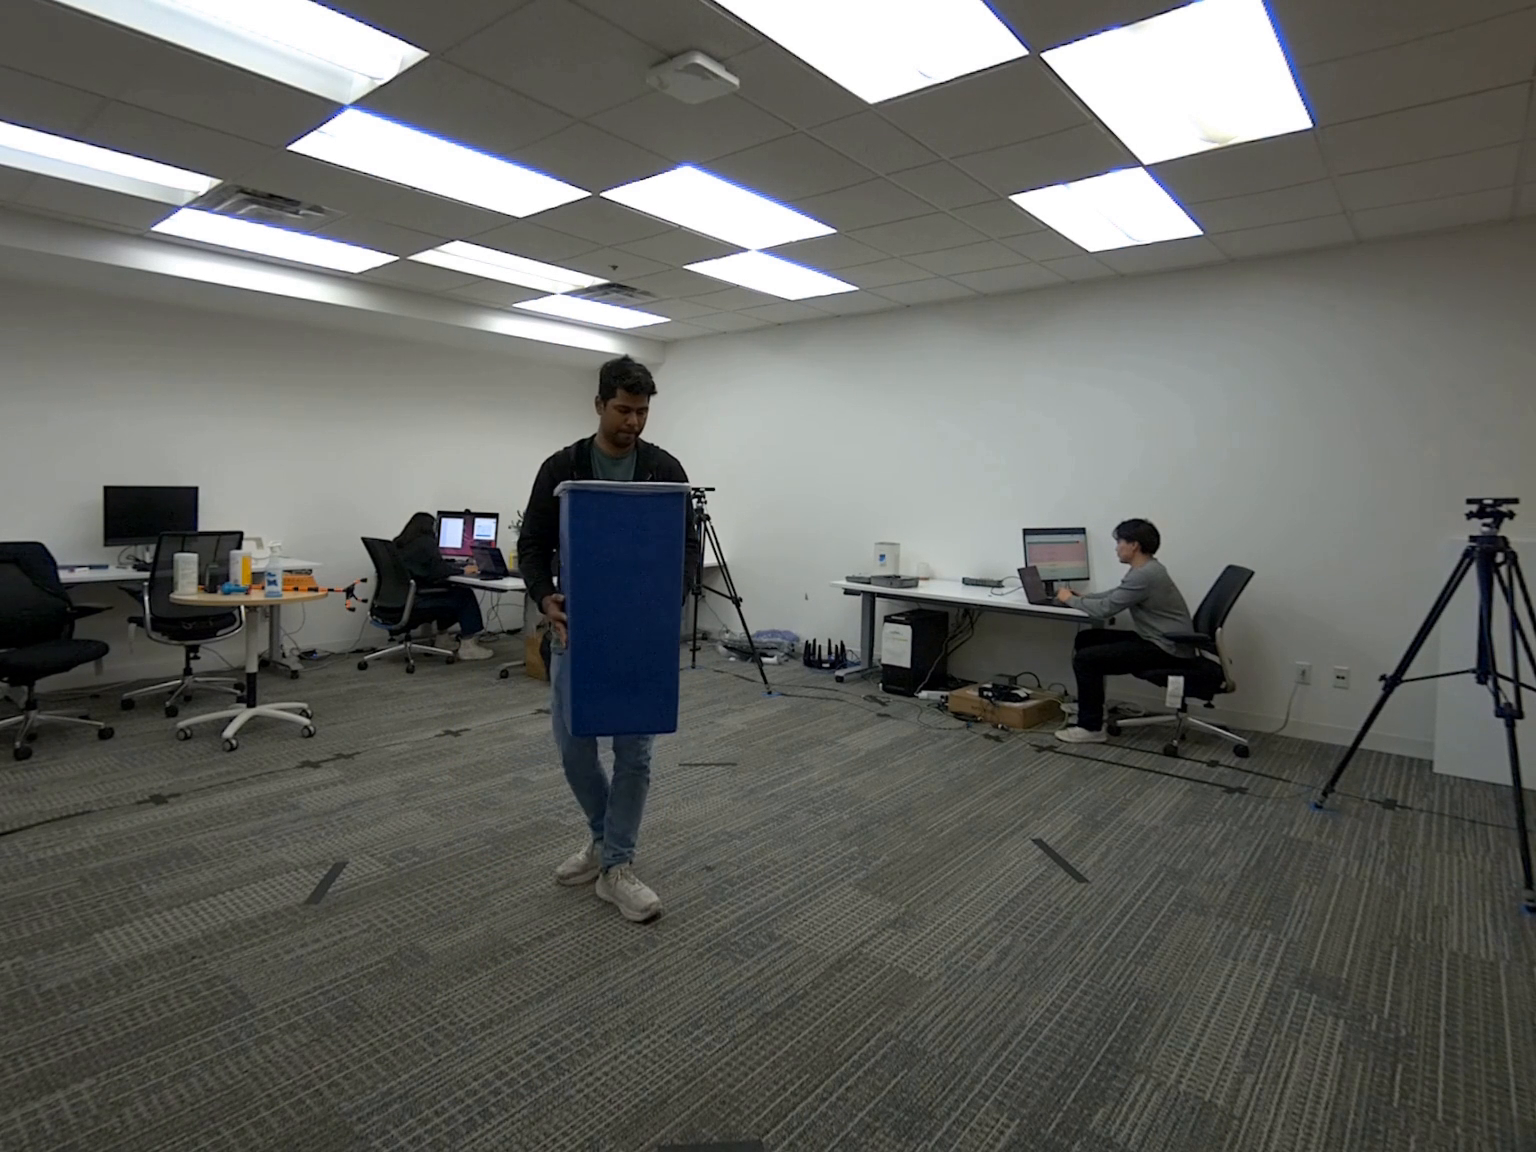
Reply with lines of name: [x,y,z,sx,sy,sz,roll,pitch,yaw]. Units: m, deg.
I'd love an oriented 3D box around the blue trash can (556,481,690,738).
blue trash can: [-0.453,0.084,2.545,0.373,0.715,0.378,-1,-2,-14]
